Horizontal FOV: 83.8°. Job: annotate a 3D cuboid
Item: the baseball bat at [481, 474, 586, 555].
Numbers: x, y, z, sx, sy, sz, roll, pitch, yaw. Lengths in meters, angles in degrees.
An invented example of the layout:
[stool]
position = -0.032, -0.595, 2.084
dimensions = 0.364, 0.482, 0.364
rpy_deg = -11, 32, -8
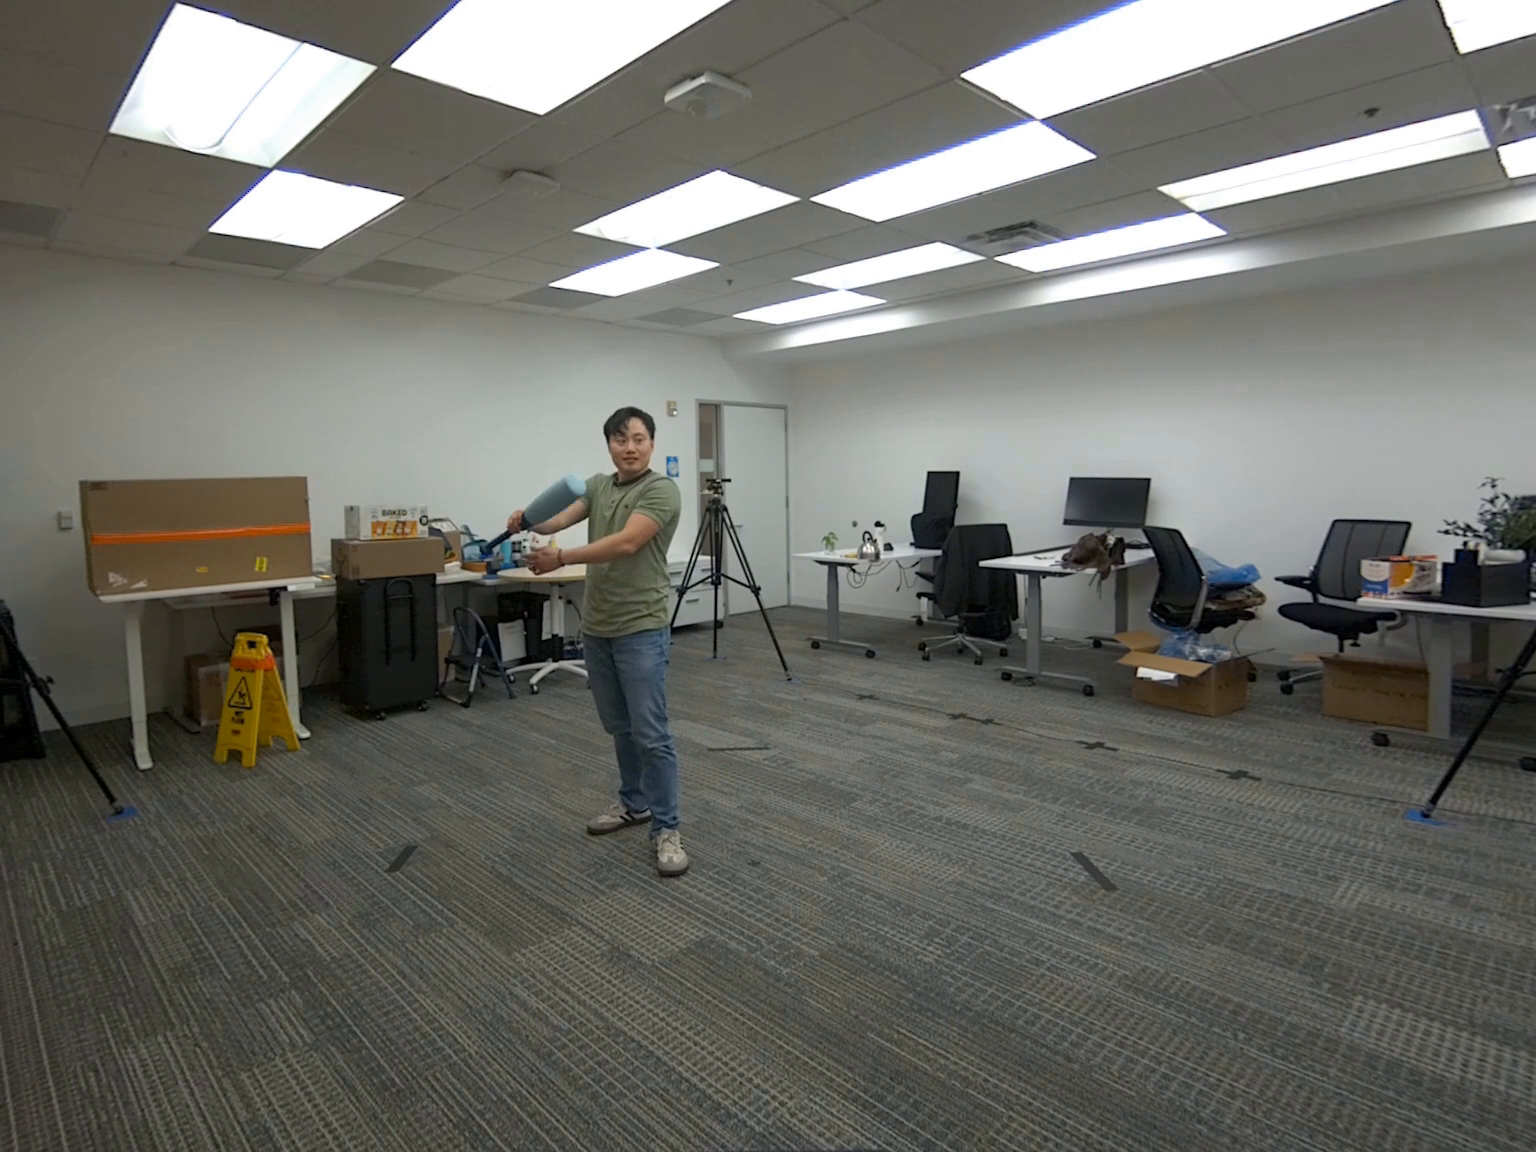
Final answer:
[baseball bat]
position = -0.809, -0.194, 2.899
dimensions = 0.549, 0.090, 0.087
rpy_deg = -28, -12, 34
